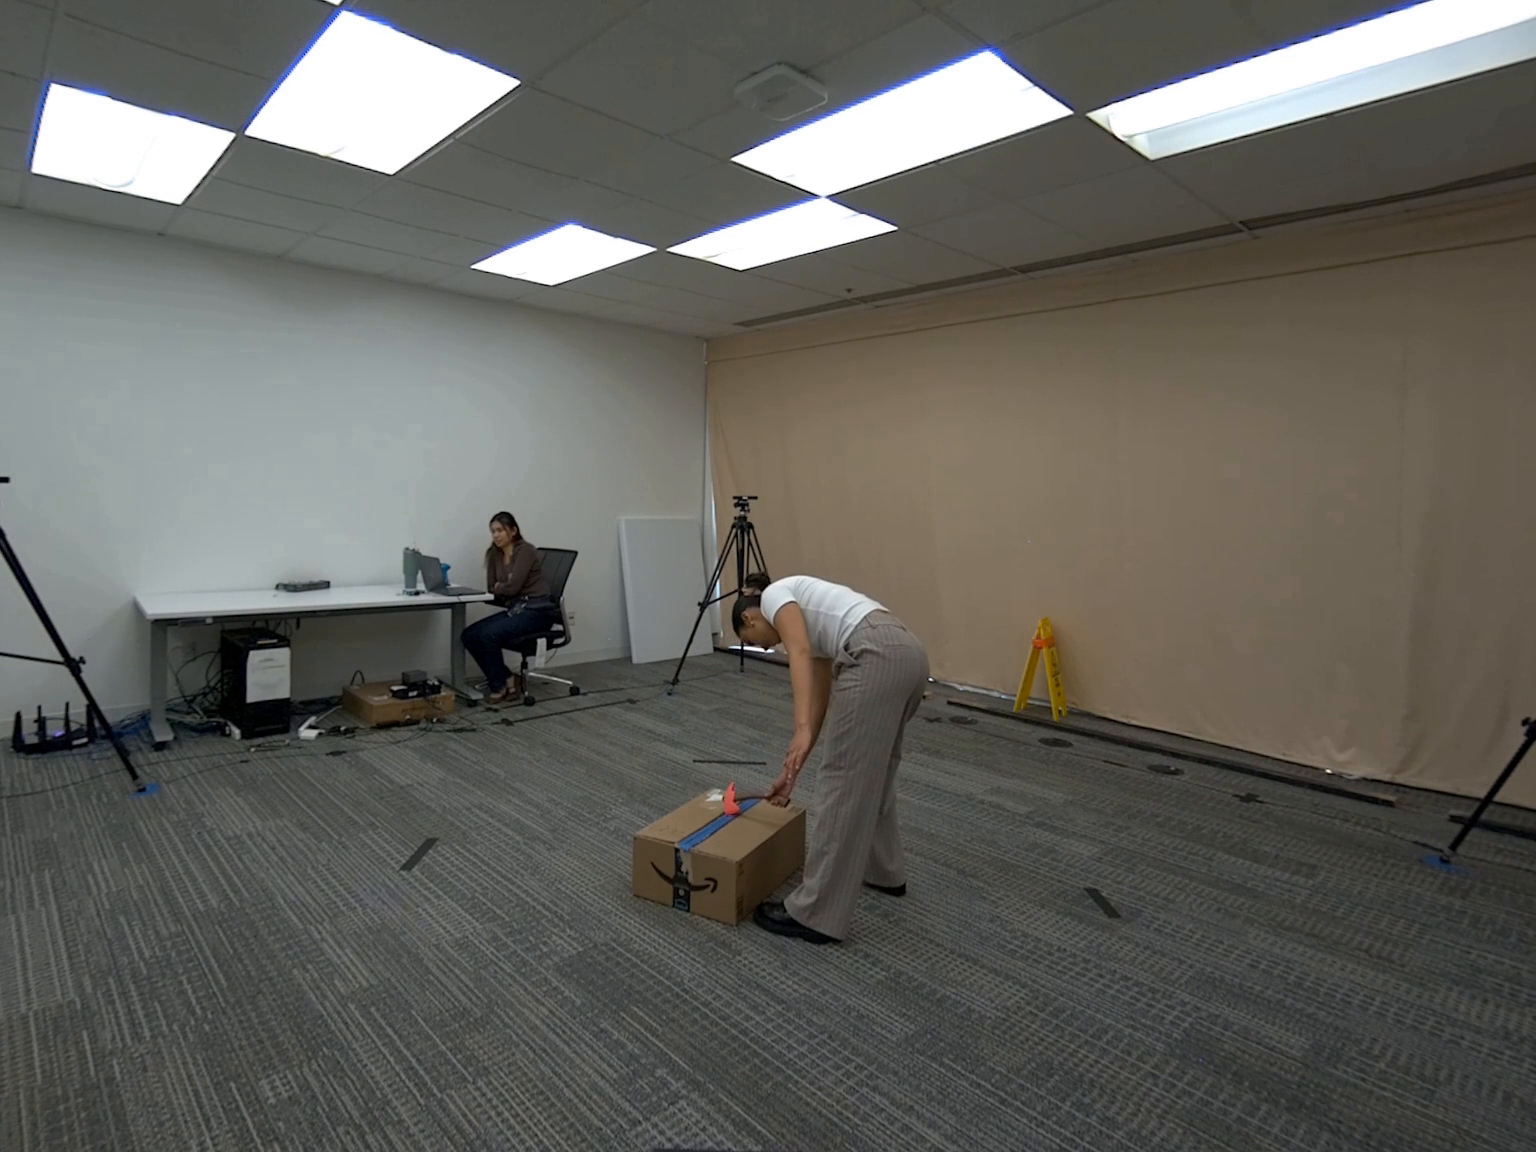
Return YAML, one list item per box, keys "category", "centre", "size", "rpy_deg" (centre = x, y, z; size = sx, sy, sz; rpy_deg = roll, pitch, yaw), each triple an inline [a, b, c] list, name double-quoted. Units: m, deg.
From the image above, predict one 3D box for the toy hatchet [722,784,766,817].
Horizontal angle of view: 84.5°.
- category: "toy hatchet"
  centre: [-0.062, 0.846, 3.067]
  size: [0.277, 0.029, 0.131]
  rpy_deg: [7, 48, 36]
